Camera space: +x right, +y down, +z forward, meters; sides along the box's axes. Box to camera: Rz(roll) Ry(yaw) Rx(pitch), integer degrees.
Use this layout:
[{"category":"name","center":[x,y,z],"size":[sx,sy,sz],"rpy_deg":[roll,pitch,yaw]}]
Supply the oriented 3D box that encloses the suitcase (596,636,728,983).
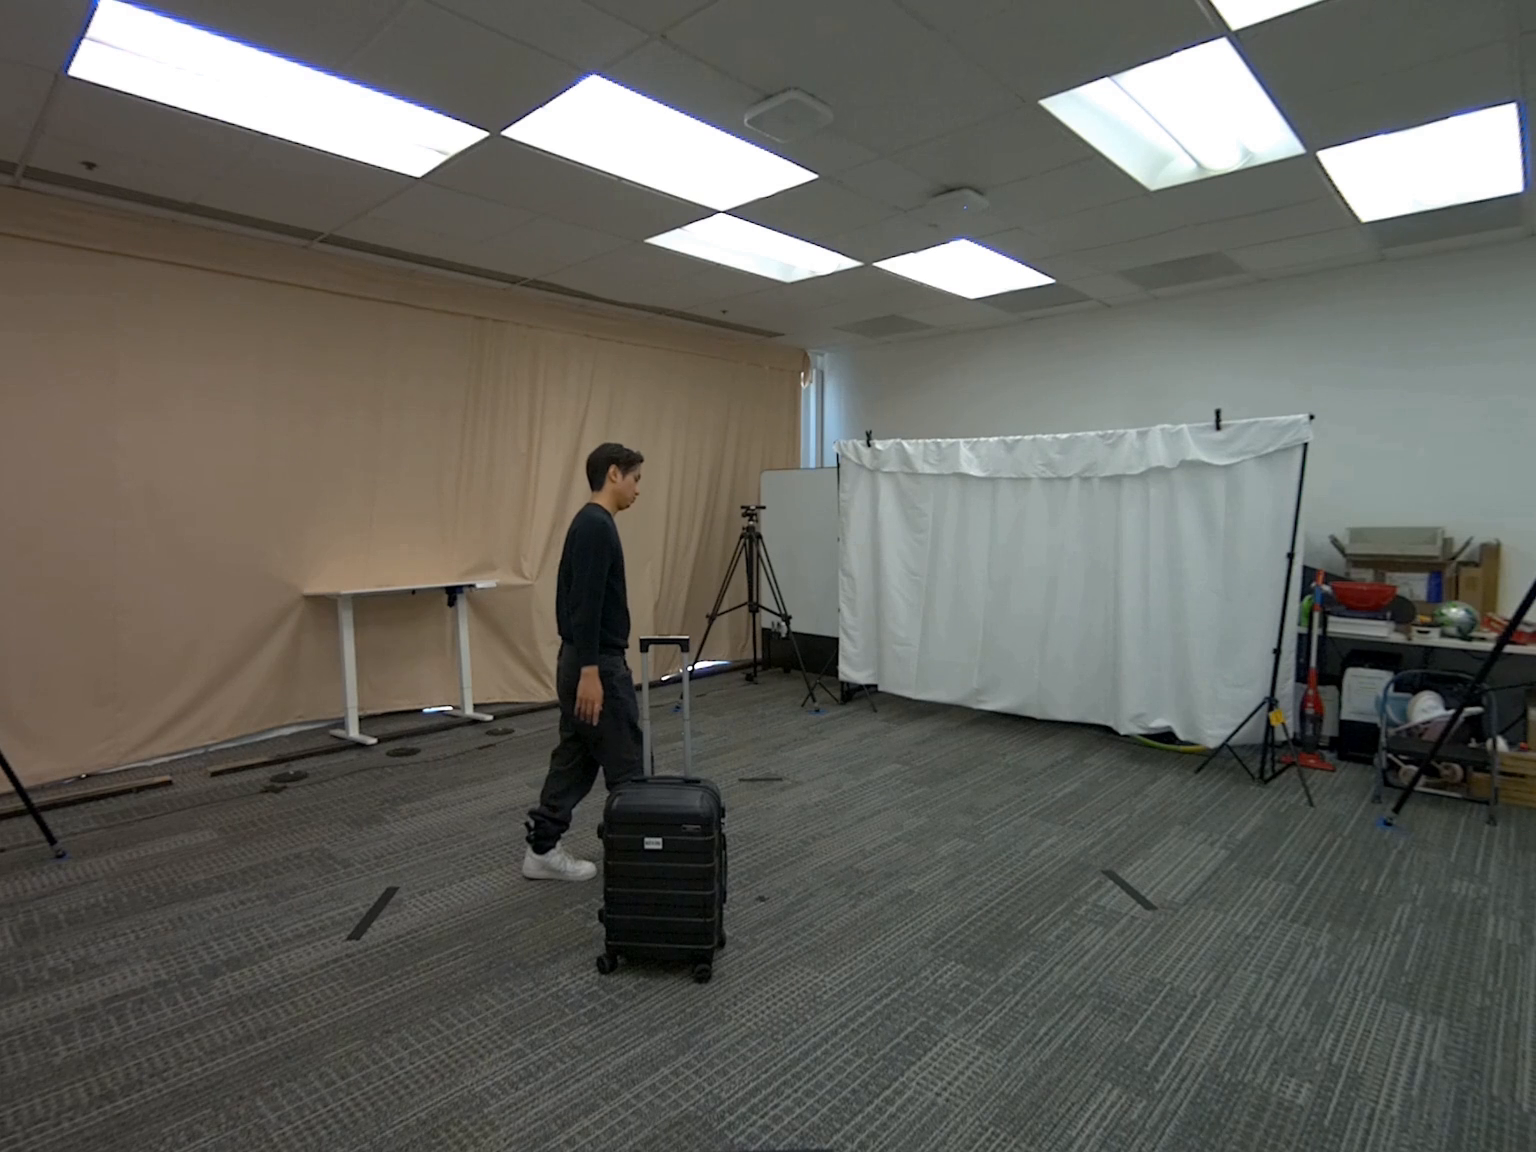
[{"category":"suitcase","center":[-0.320,0.700,2.565],"size":[0.386,0.976,0.256],"rpy_deg":[-1,4,4]}]
